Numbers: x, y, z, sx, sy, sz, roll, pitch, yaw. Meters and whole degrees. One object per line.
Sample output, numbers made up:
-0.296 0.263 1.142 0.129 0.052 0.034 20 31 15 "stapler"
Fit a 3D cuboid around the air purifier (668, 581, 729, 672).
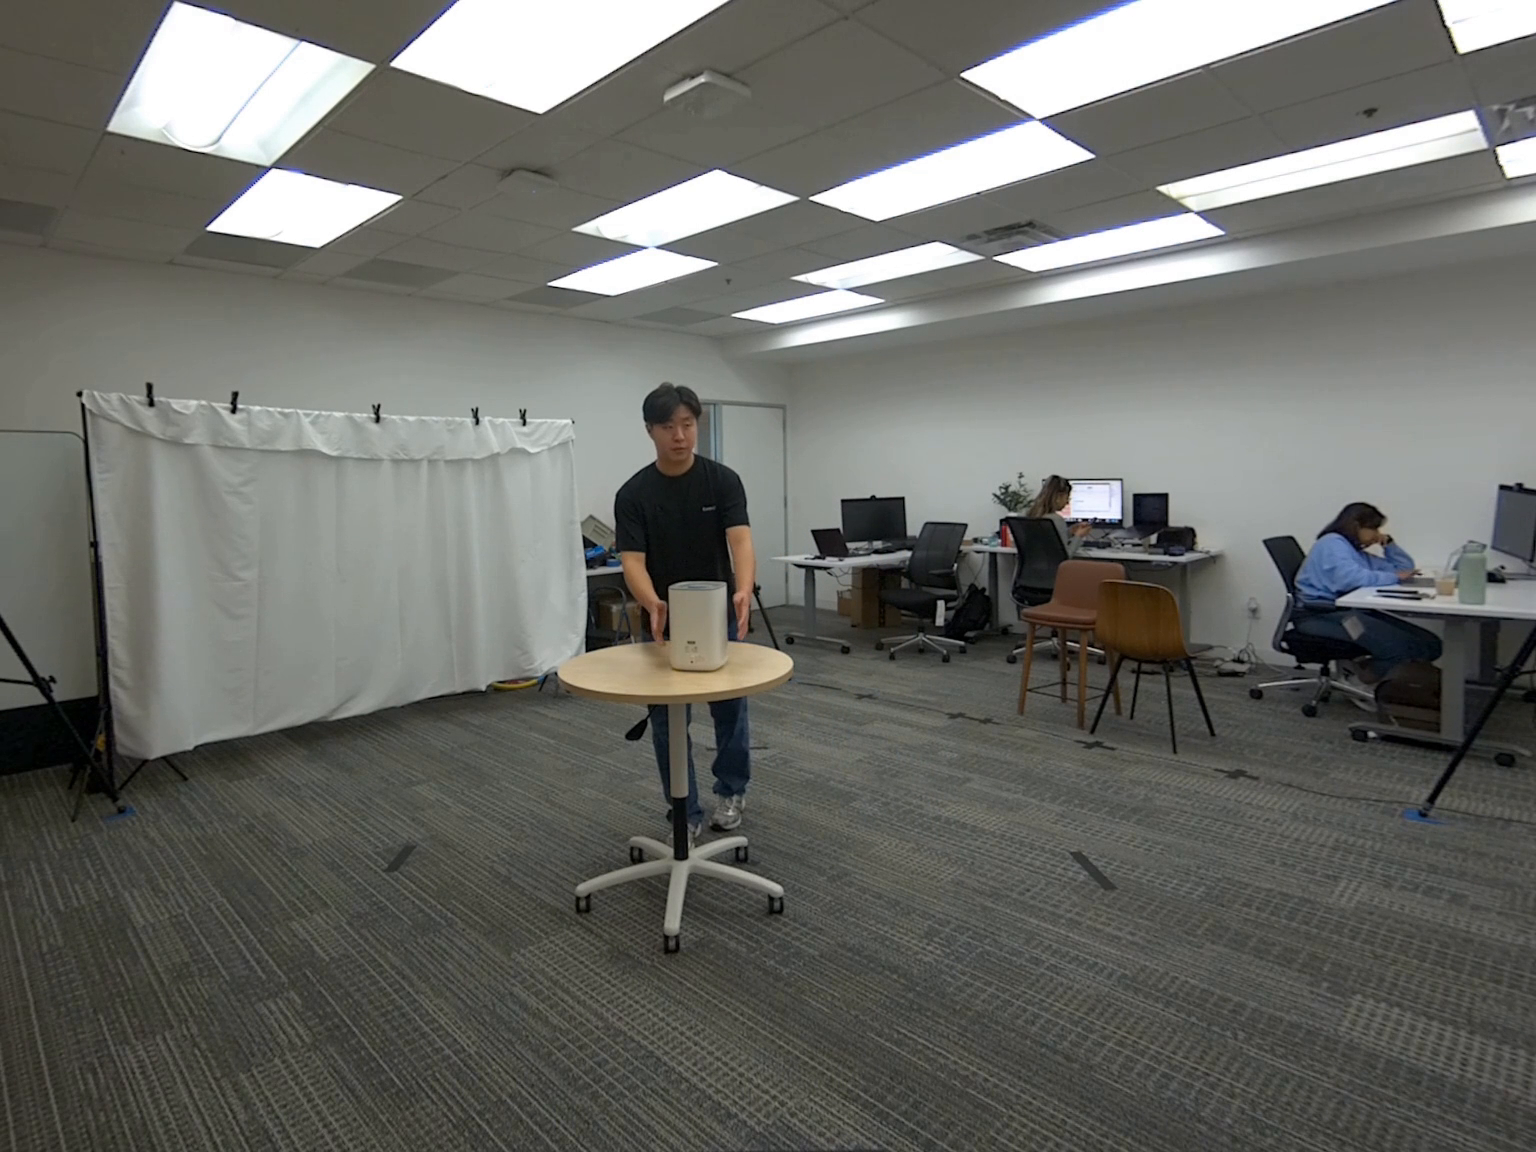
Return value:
-0.222 0.164 2.742 0.173 0.264 0.170 0 5 11 "air purifier"
